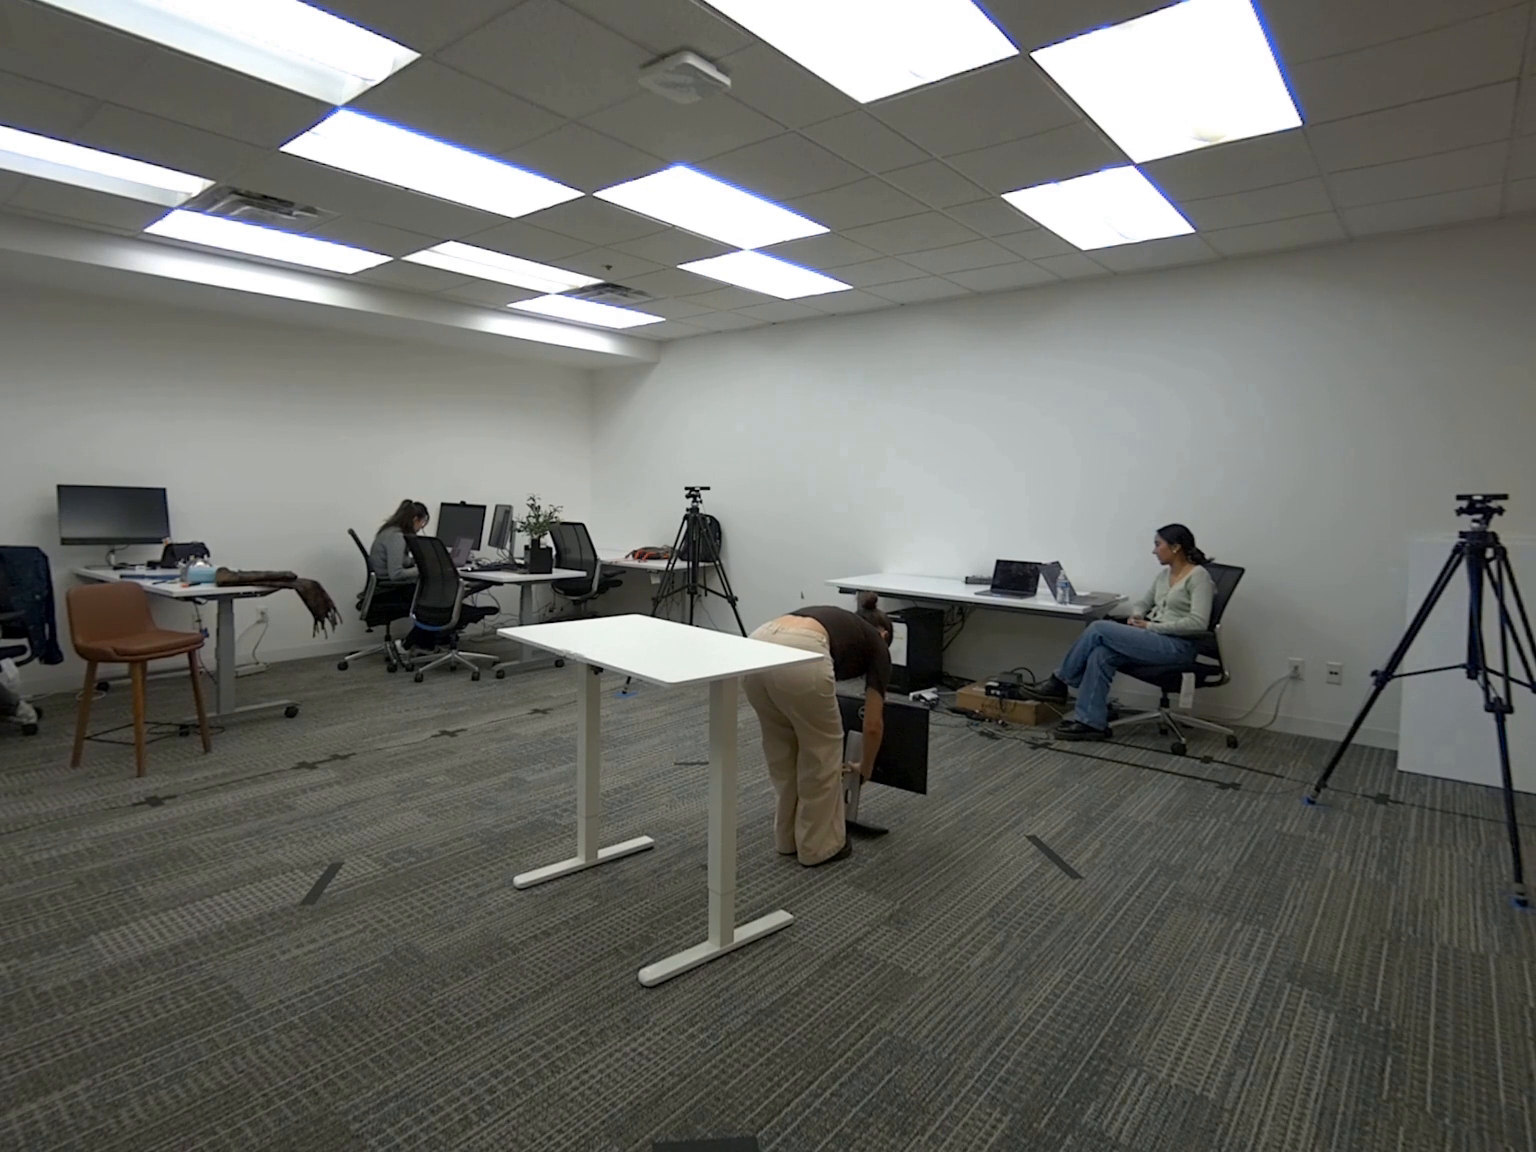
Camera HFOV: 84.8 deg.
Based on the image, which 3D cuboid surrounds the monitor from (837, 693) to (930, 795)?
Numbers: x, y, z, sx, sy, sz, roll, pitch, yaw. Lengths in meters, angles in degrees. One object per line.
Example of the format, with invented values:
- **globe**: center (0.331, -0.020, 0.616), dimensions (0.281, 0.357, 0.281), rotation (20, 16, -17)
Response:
- **monitor**: center (0.375, 0.765, 3.528), dimensions (0.556, 0.526, 0.180), rotation (4, -10, 35)
